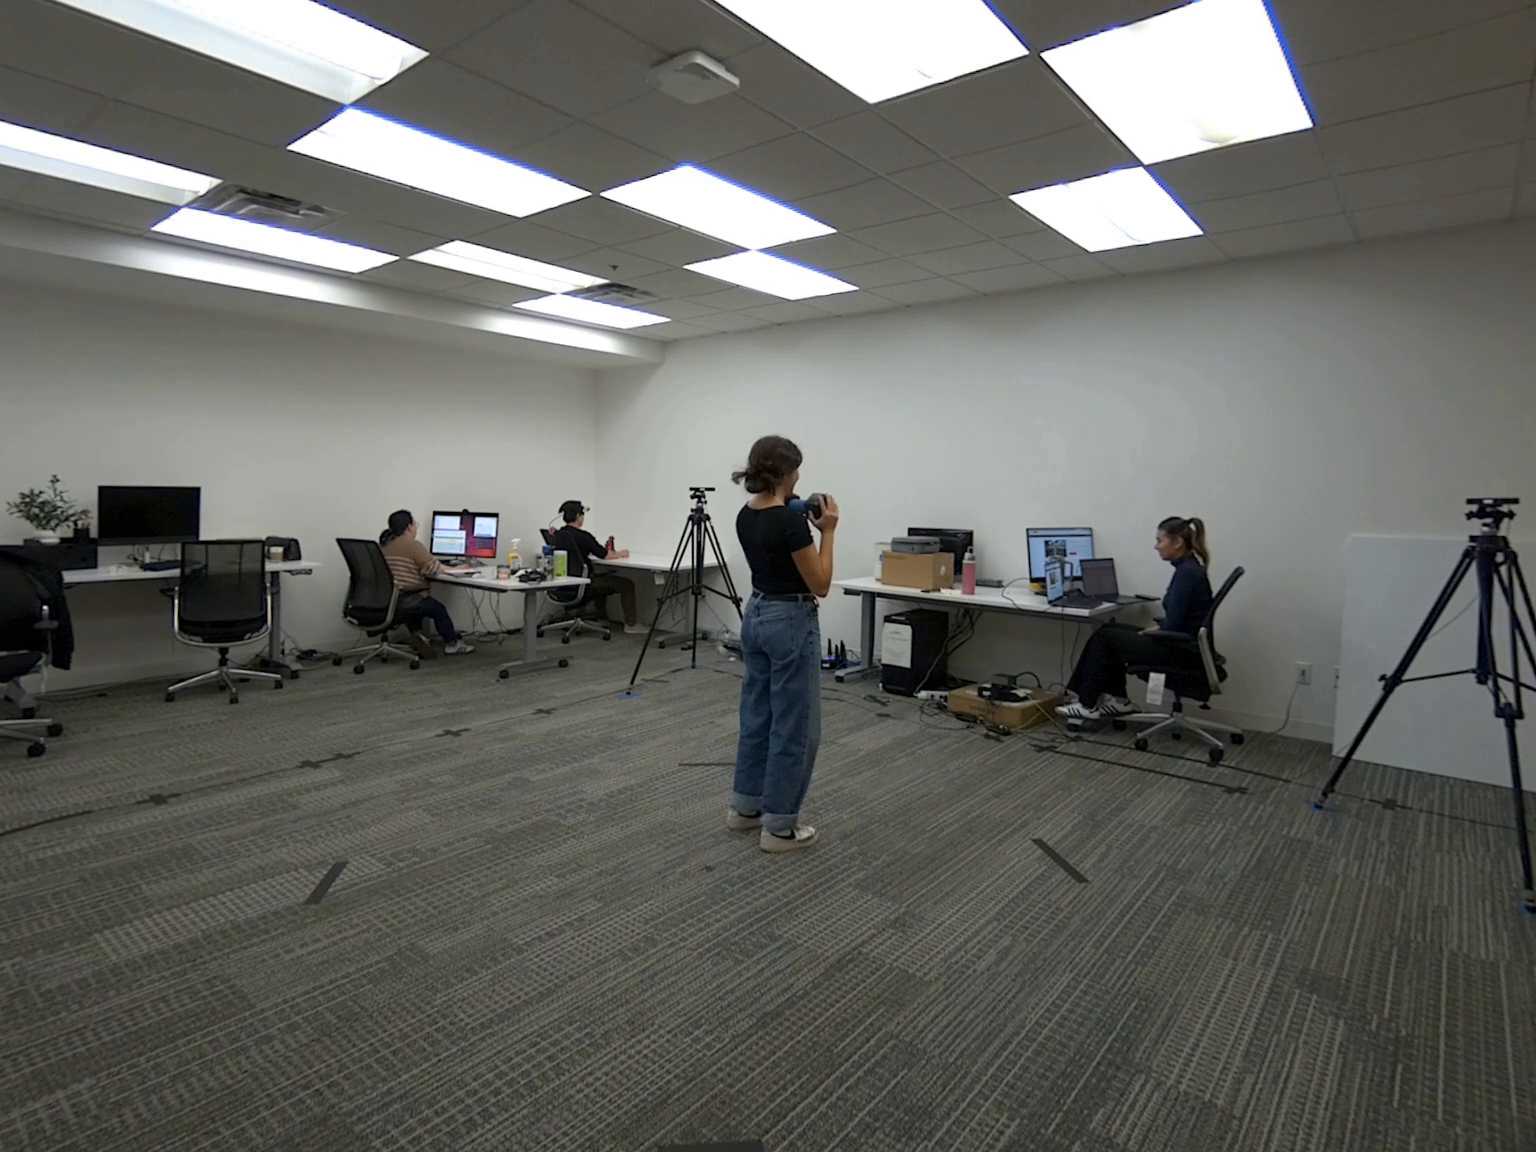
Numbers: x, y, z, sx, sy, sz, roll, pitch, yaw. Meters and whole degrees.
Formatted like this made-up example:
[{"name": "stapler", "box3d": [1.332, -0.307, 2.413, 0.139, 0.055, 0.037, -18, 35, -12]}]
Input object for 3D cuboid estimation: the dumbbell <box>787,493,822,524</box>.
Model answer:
[{"name": "dumbbell", "box3d": [0.125, -0.274, 3.399, 0.123, 0.105, 0.303, -47, 29, -24]}]
